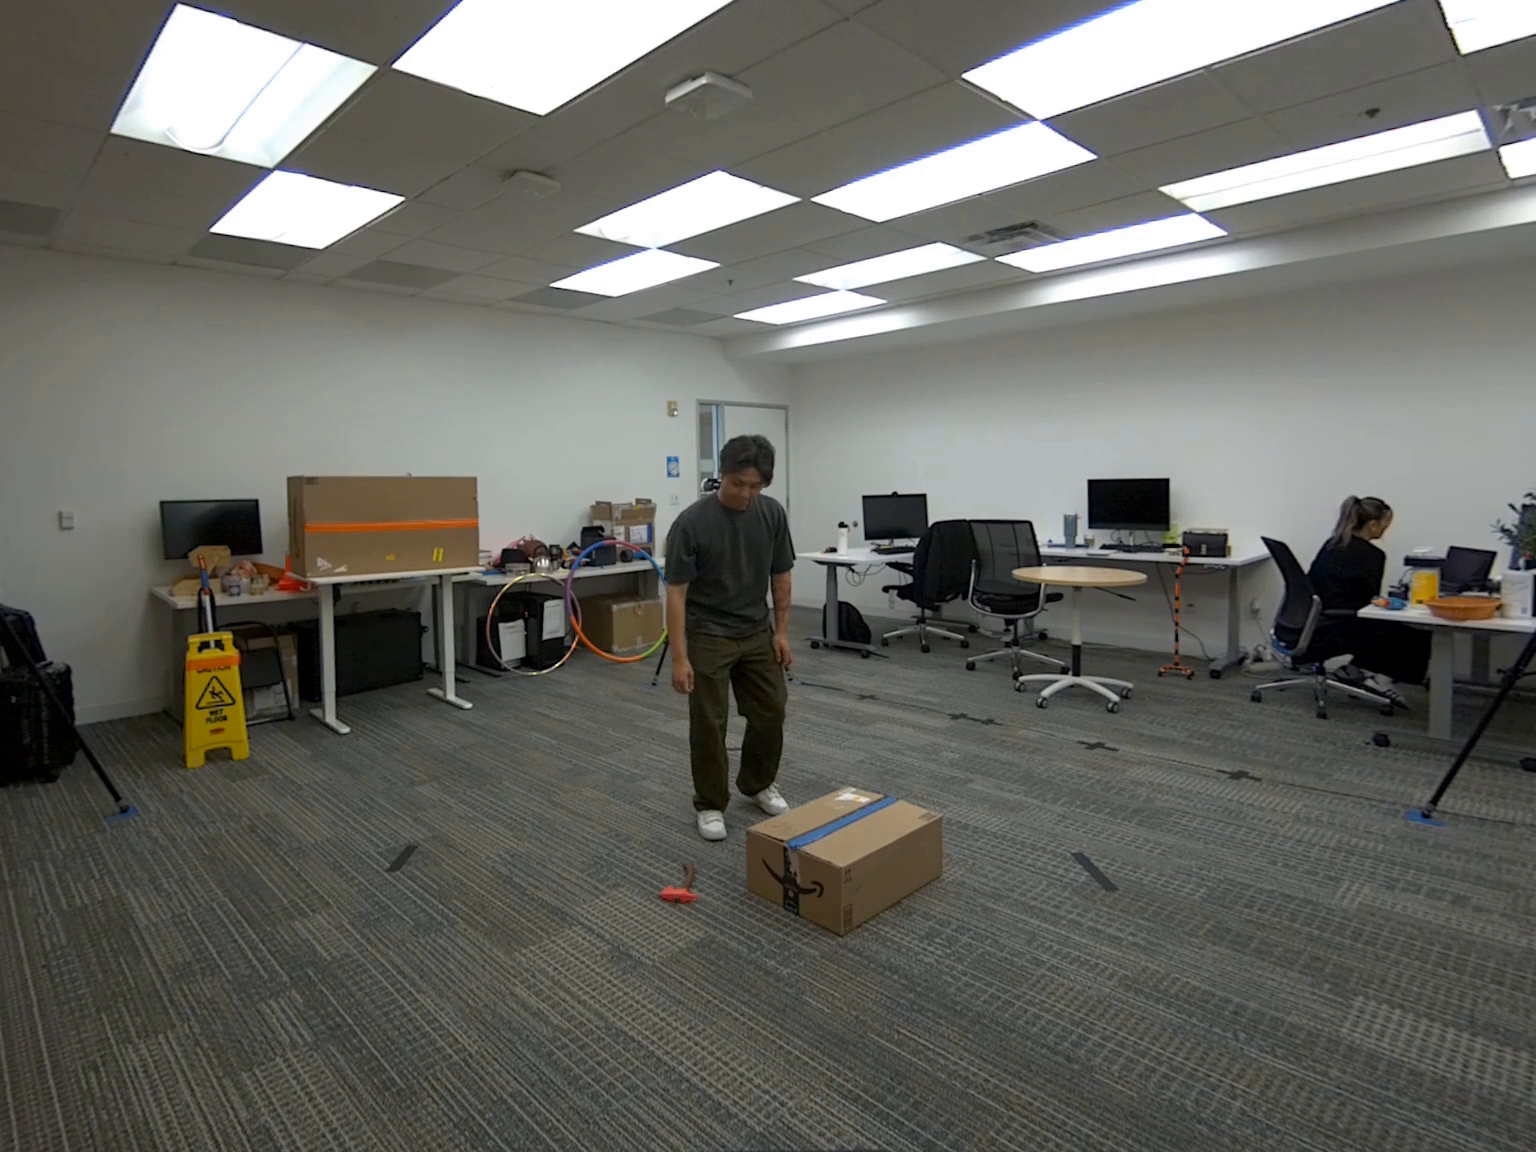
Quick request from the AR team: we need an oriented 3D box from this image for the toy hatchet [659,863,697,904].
[{"bbox_3d":[-0.313,1.065,2.955,0.130,0.029,0.272,-6,5,-7],"label":"toy hatchet"}]
